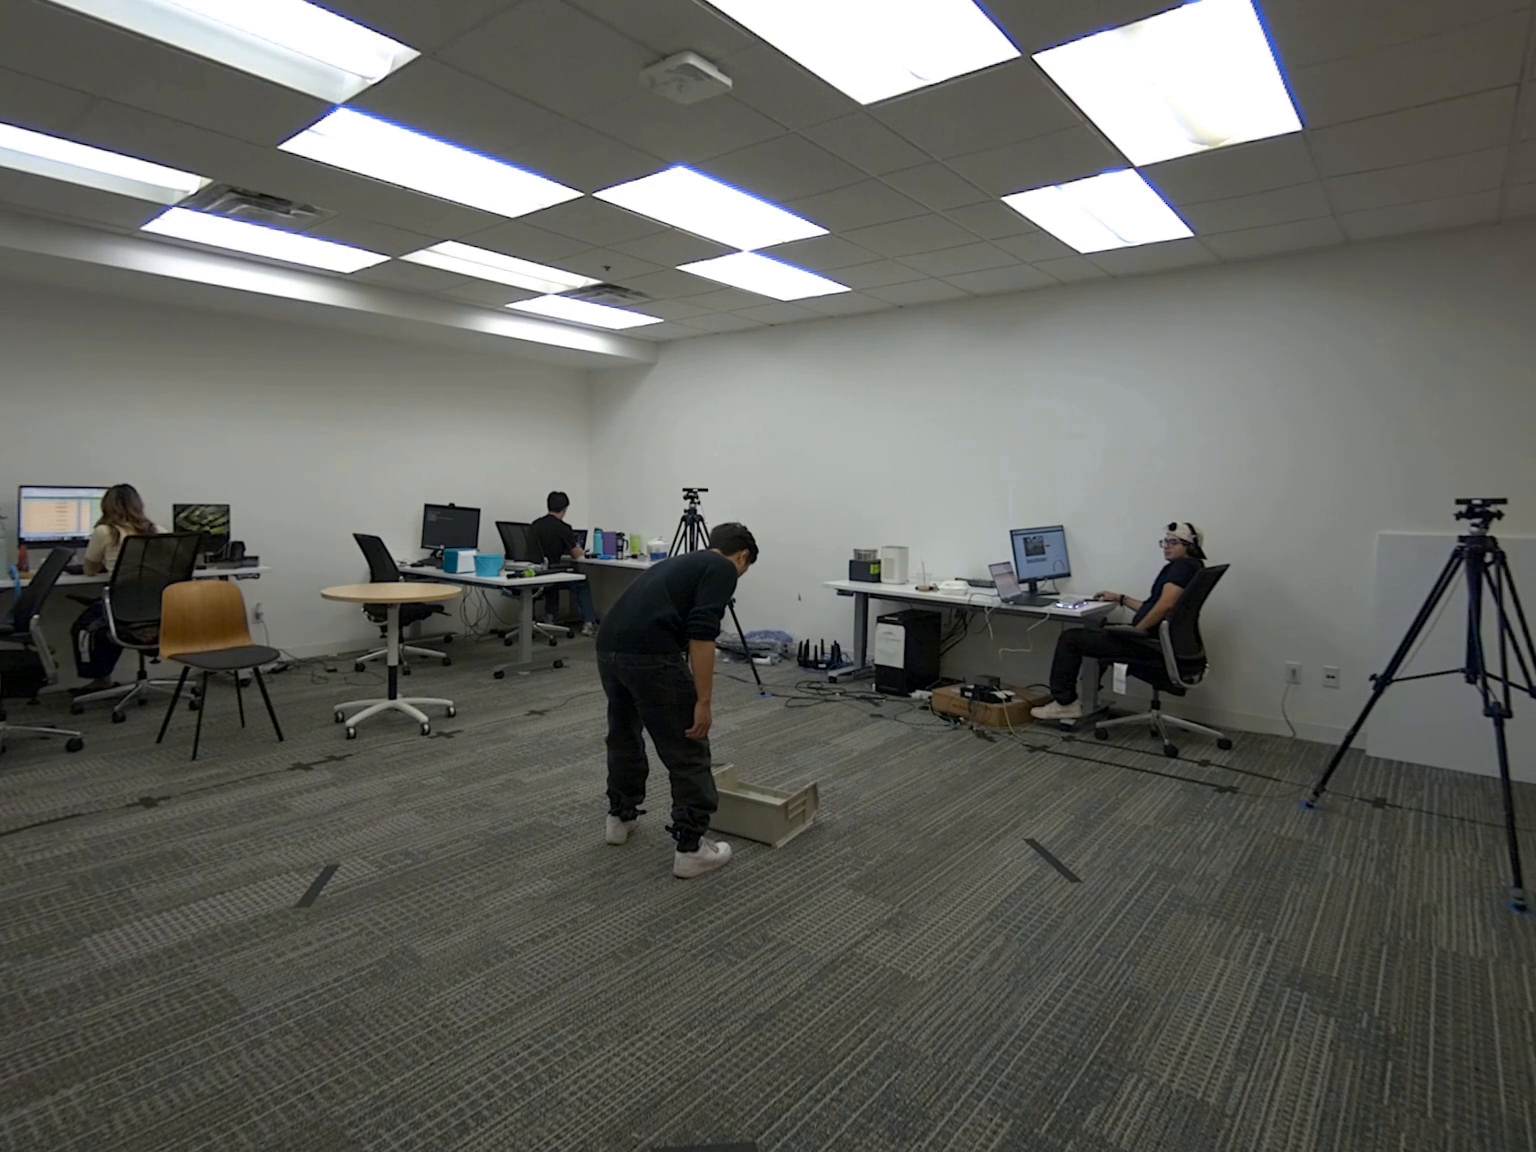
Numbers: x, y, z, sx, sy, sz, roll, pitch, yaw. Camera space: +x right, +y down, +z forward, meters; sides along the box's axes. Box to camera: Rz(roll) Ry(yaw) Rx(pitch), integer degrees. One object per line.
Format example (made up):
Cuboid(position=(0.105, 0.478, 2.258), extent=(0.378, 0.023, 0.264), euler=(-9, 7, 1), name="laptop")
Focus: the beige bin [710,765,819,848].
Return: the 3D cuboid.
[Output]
Cuboid(position=(-0.061, 0.942, 3.554), extent=(0.435, 0.188, 0.368), euler=(4, 7, 30), name="beige bin")
